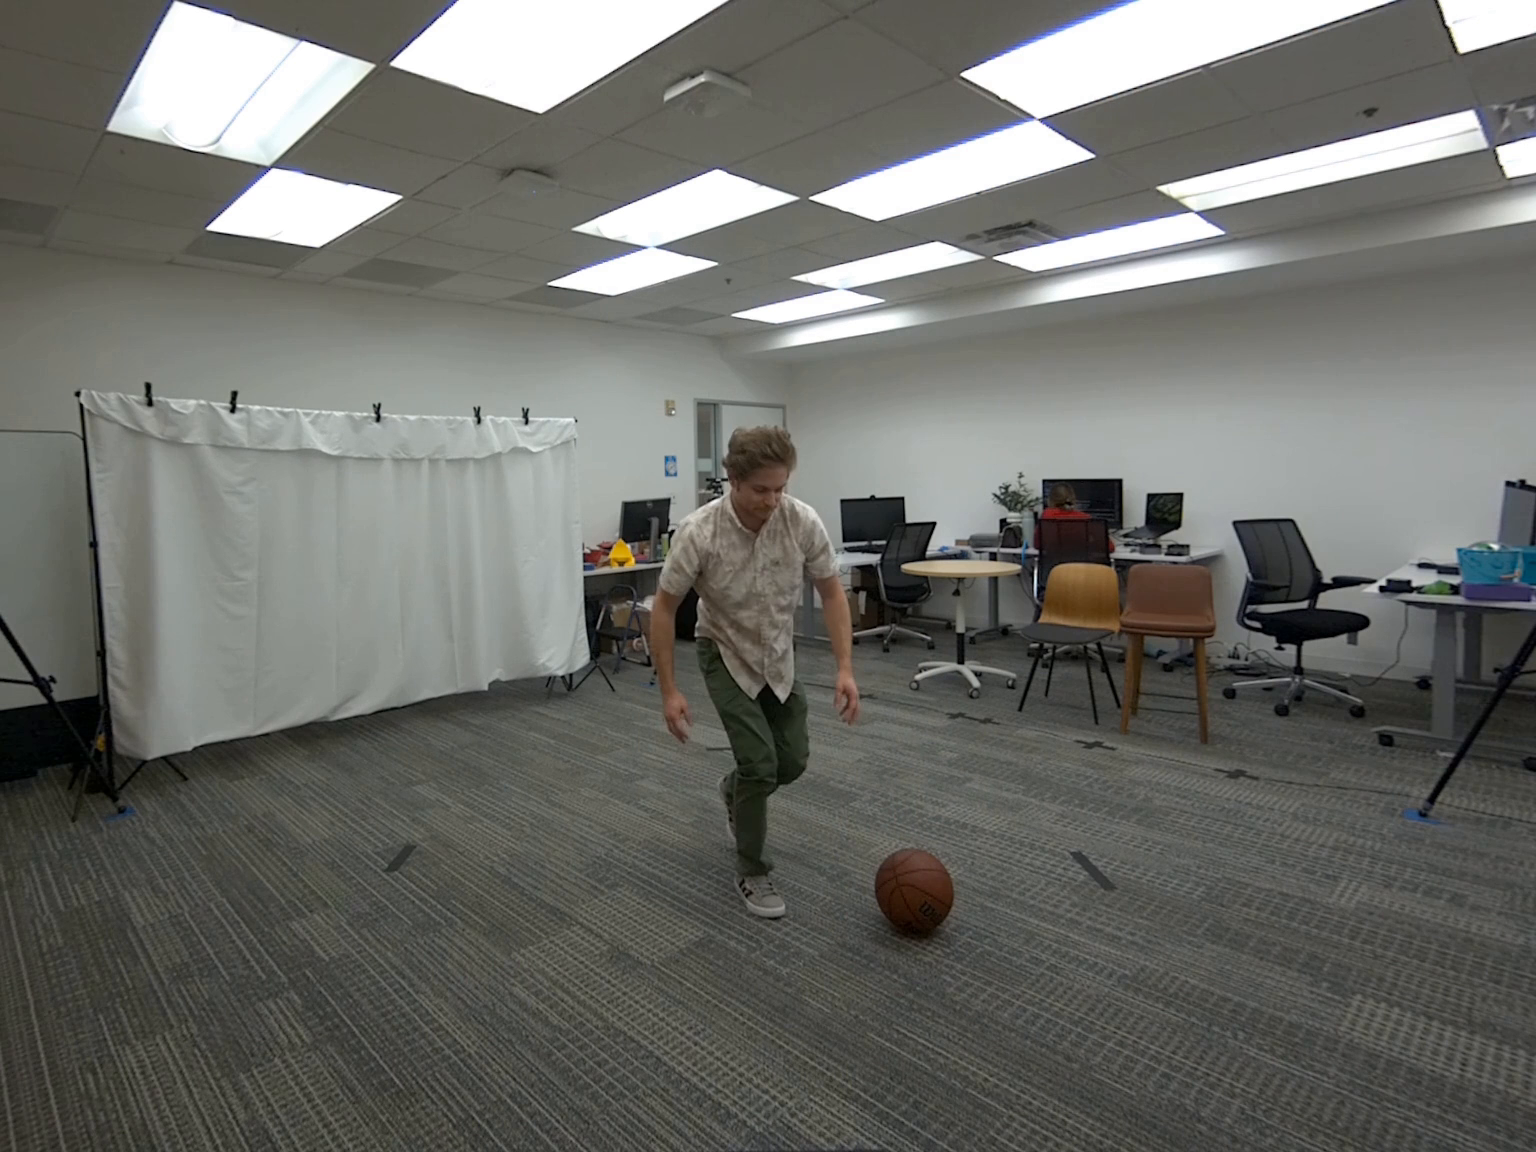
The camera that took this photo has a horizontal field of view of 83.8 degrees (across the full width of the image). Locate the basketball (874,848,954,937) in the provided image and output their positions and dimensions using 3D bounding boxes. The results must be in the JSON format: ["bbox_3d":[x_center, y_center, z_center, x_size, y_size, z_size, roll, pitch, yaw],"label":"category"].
[{"bbox_3d":[0.460,0.966,2.636,0.236,0.235,0.237,-1,5,-2],"label":"basketball"}]
